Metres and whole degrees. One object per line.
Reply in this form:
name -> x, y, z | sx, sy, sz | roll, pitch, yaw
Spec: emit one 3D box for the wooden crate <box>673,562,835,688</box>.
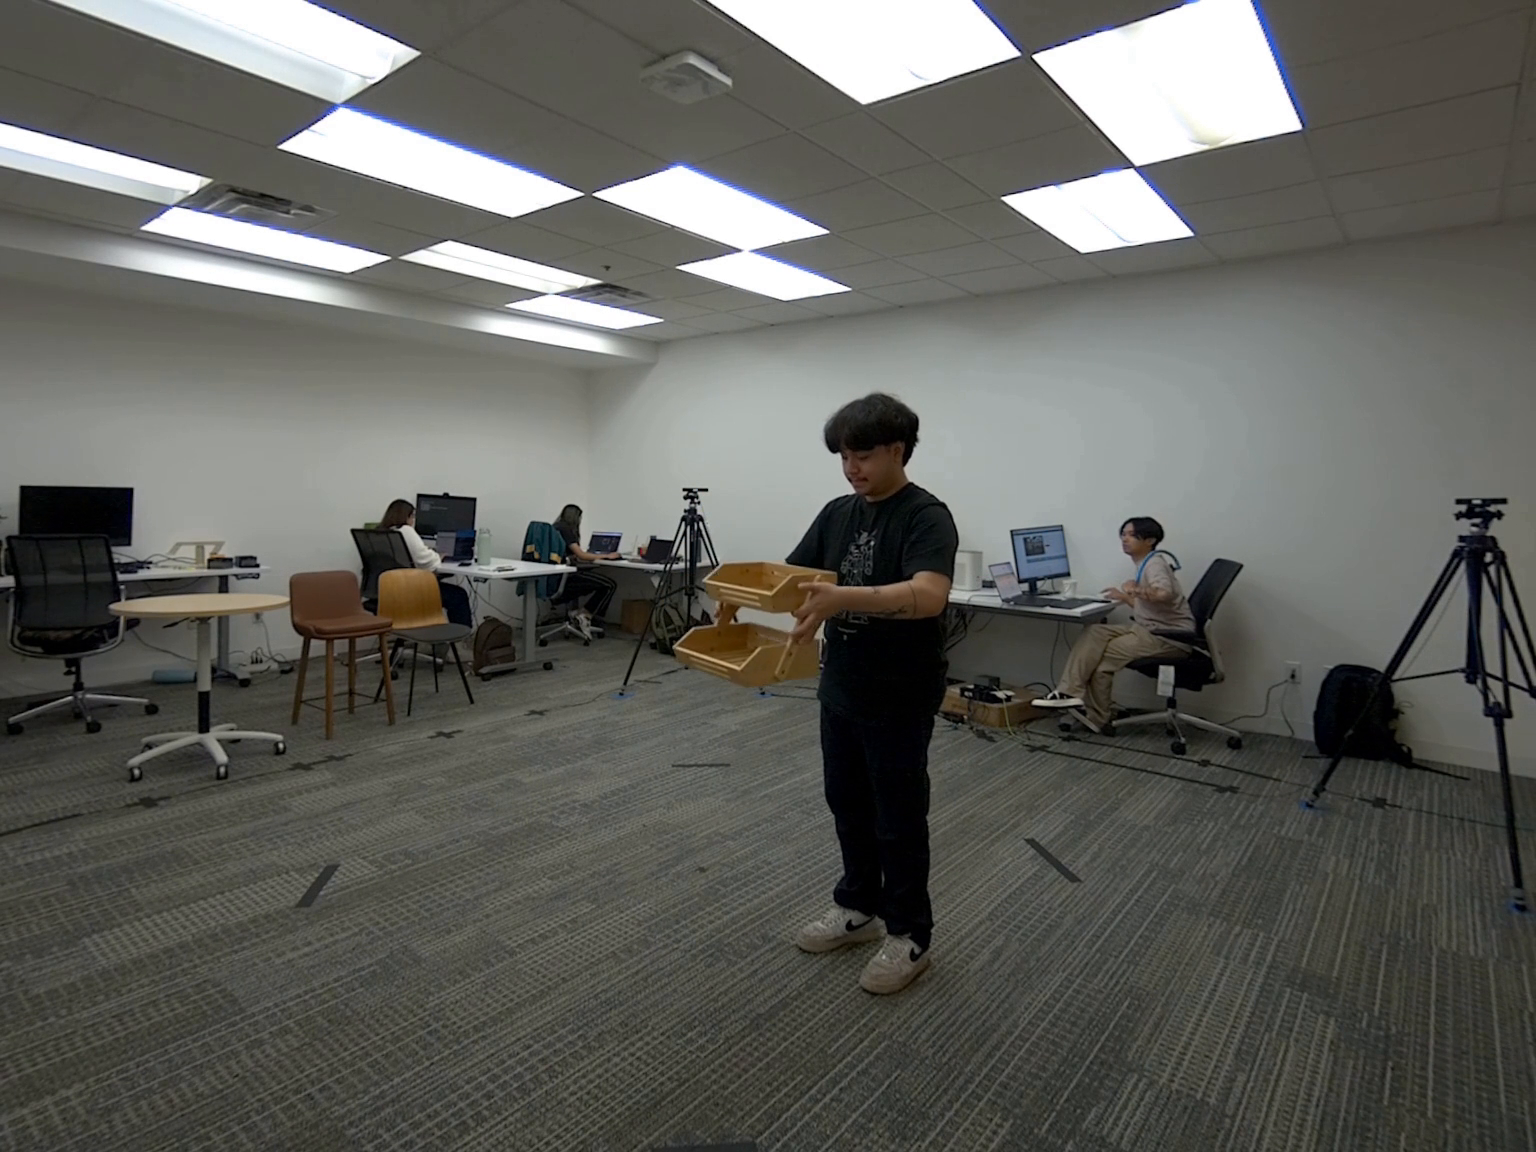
wooden crate -> -0.045, 0.110, 2.209 | 0.293, 0.272, 0.335 | -2, 7, -38
